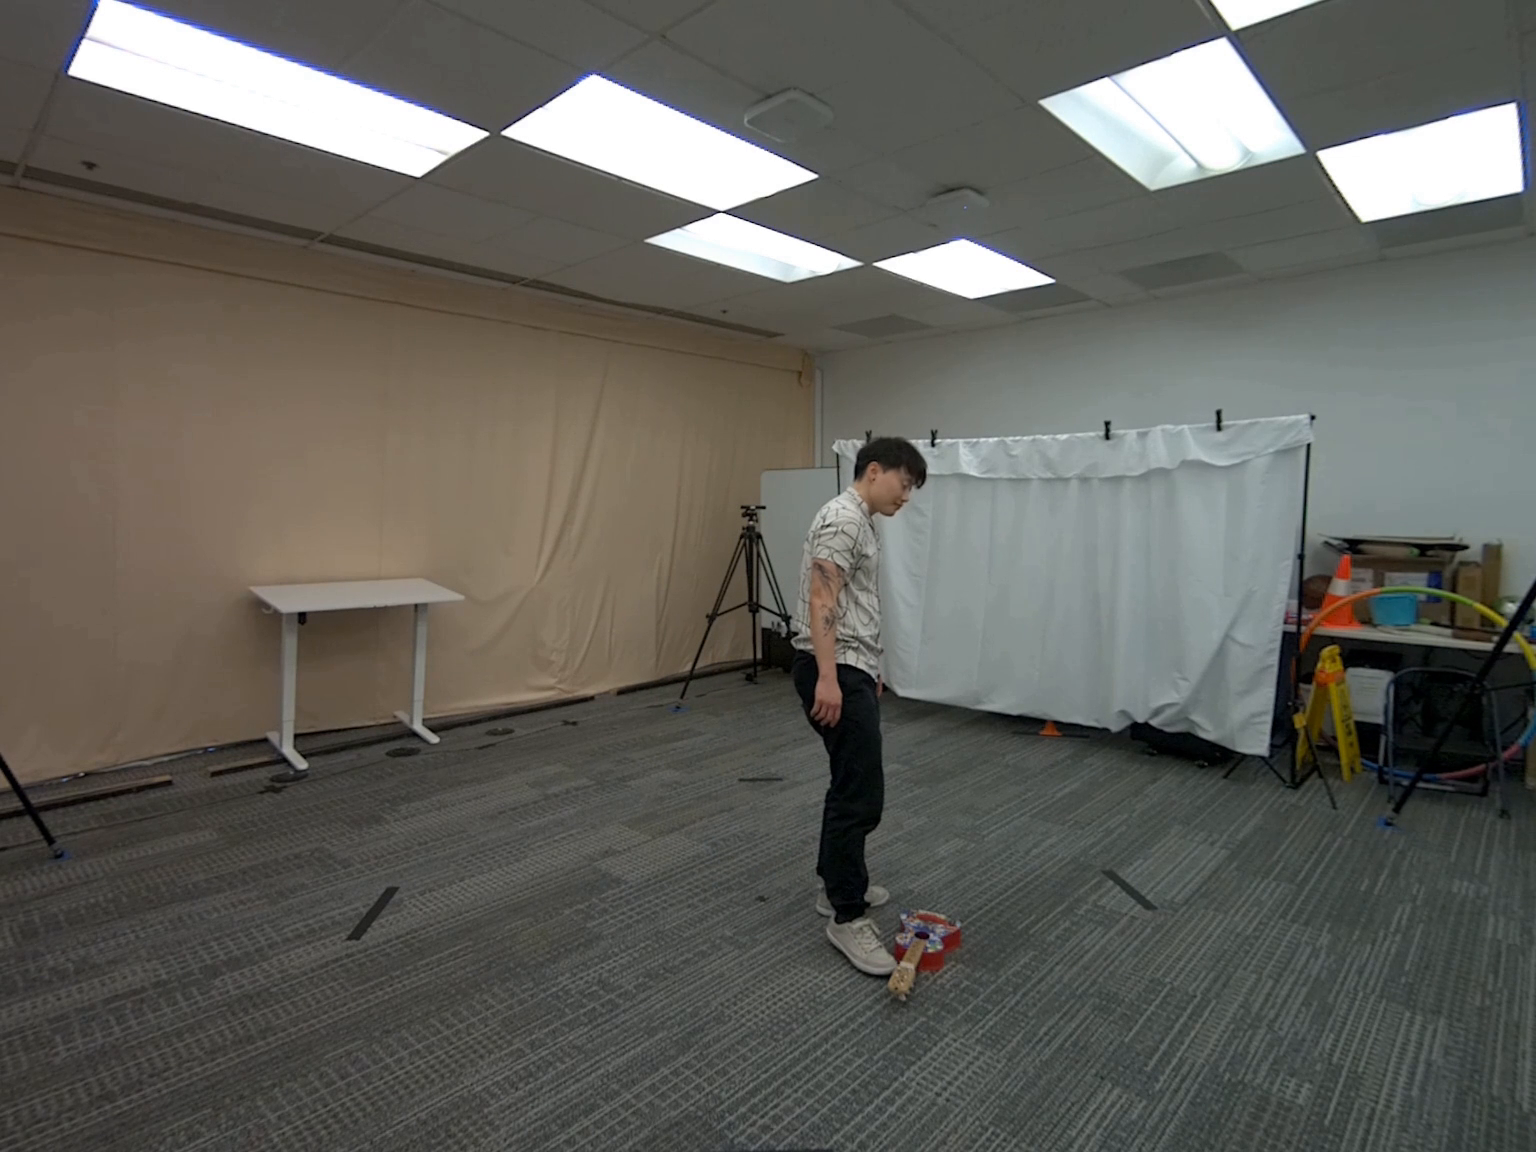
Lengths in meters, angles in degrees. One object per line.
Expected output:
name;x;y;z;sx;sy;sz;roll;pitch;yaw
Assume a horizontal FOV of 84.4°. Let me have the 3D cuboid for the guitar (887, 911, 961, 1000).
guitar;0.428;1.144;2.549;0.199;0.070;0.484;3;5;32
